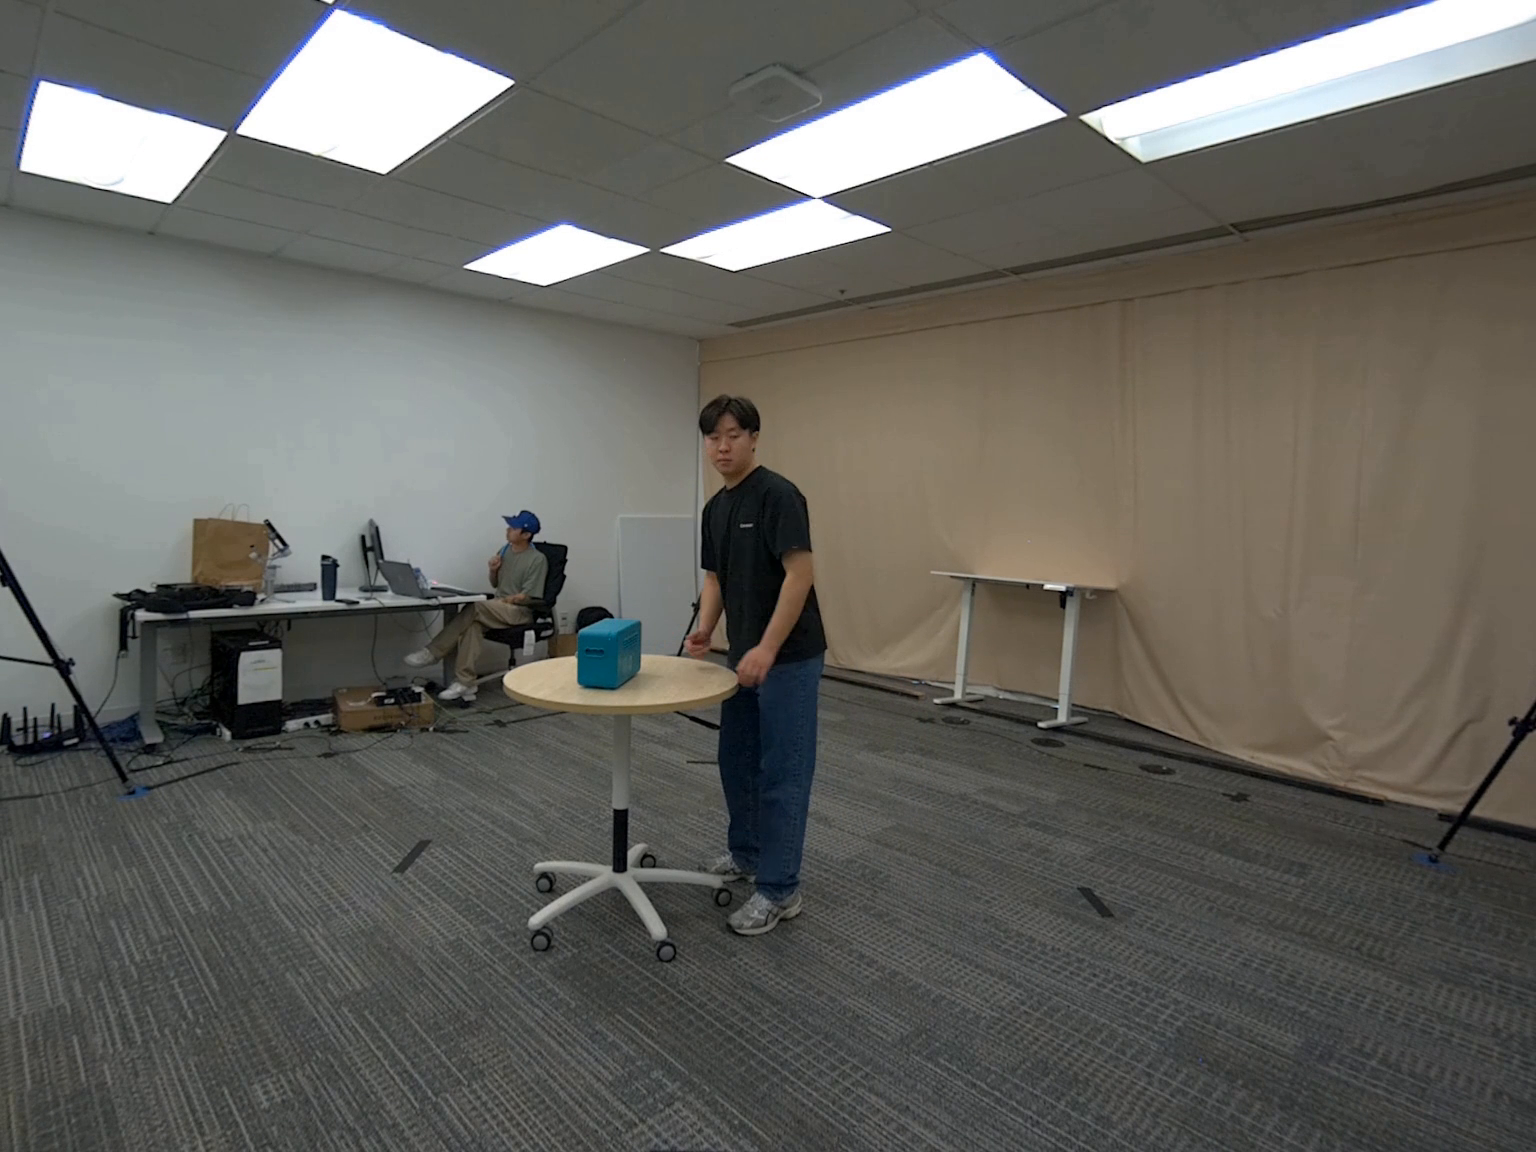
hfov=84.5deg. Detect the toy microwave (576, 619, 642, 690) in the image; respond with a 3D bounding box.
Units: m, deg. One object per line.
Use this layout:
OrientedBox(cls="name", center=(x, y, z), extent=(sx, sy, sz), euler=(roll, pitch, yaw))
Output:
OrientedBox(cls="toy microwave", center=(-0.515, 0.242, 2.701), extent=(0.153, 0.184, 0.284), euler=(1, 3, 8))
